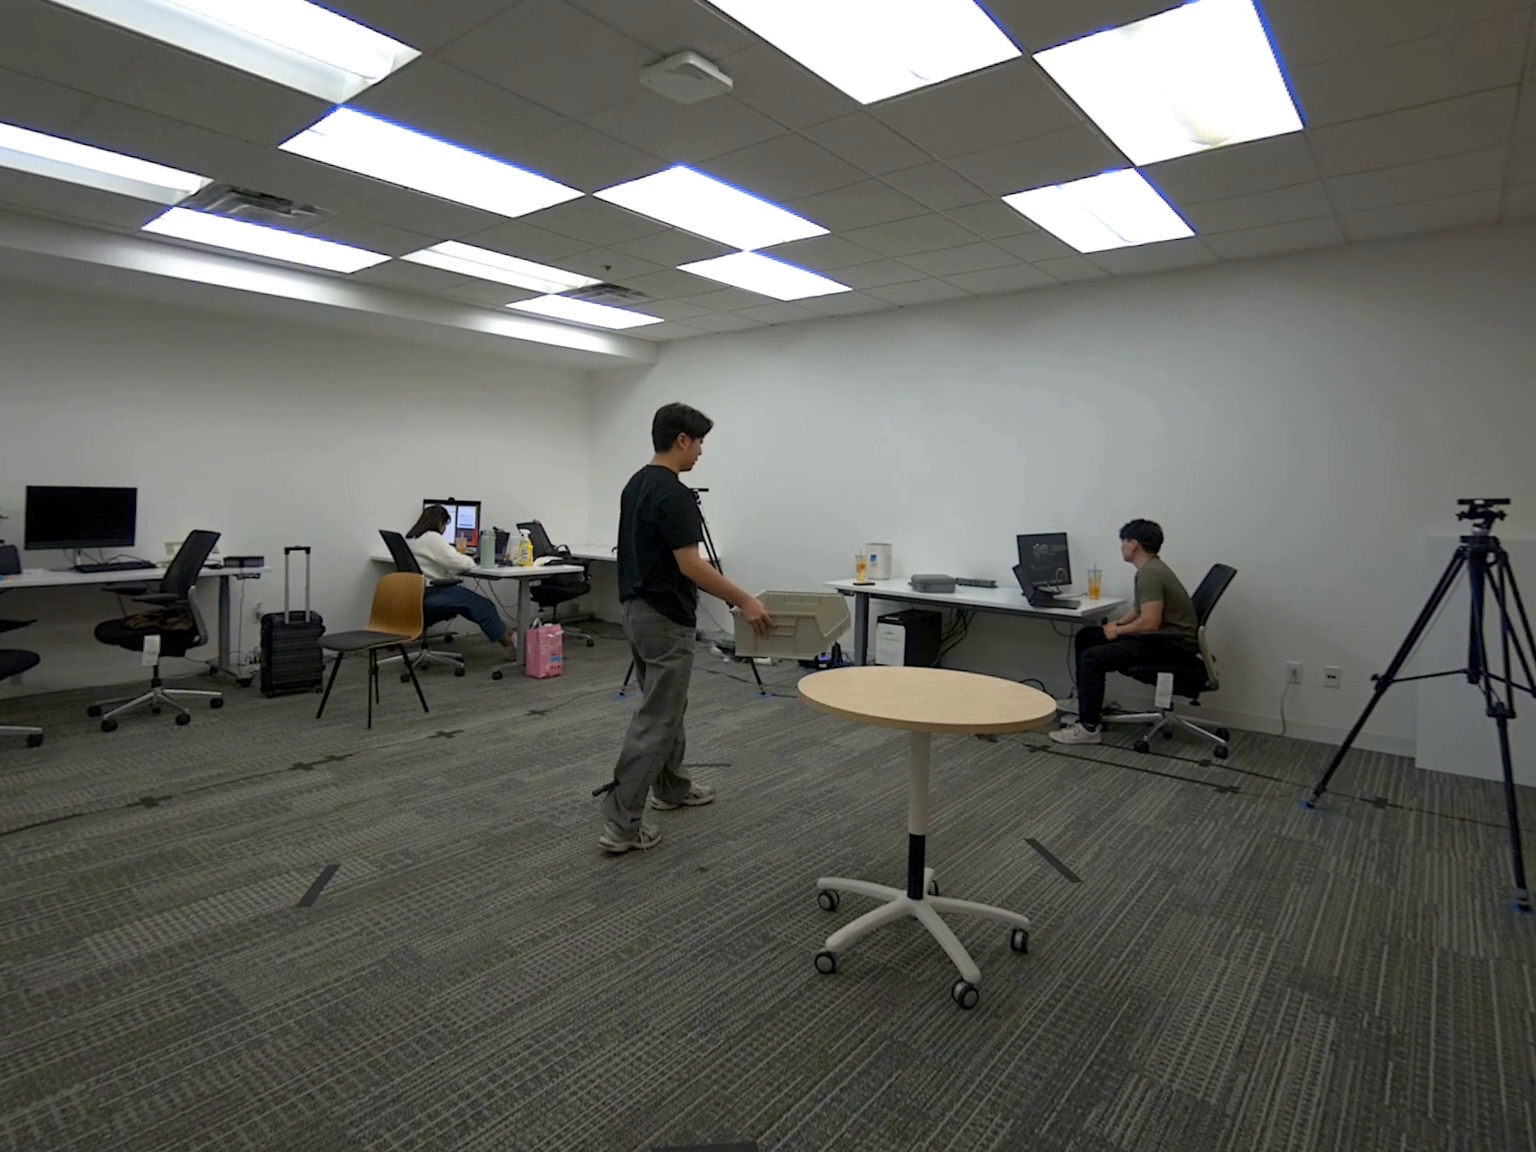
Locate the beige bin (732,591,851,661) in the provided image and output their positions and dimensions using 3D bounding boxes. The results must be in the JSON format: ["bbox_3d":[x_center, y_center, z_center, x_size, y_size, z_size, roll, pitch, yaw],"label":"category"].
[{"bbox_3d":[0.085,0.184,3.397,0.385,0.187,0.417,0,10,20],"label":"beige bin"}]
